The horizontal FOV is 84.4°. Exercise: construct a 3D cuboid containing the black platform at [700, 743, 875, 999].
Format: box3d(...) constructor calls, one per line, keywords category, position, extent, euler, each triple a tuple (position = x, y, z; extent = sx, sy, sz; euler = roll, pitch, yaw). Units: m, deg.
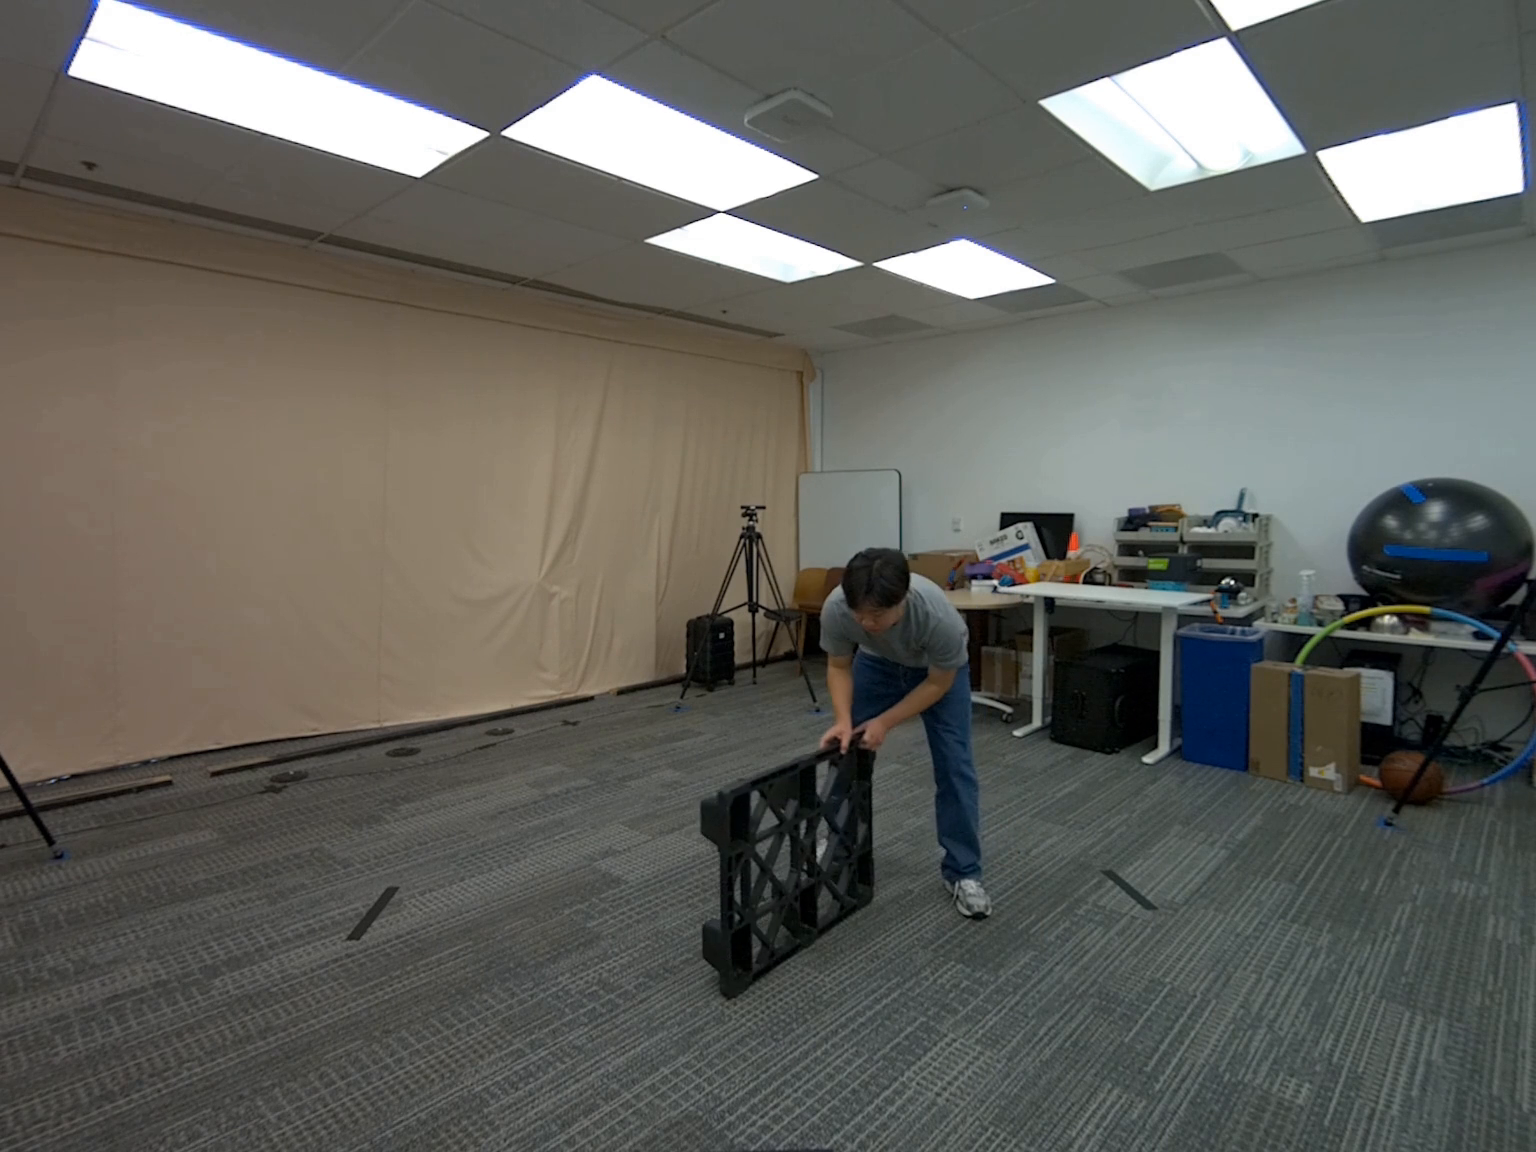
box3d(category="black platform", position=(0.071, 0.871, 2.685), extent=(0.148, 0.604, 0.782), euler=(1, 4, 38))
